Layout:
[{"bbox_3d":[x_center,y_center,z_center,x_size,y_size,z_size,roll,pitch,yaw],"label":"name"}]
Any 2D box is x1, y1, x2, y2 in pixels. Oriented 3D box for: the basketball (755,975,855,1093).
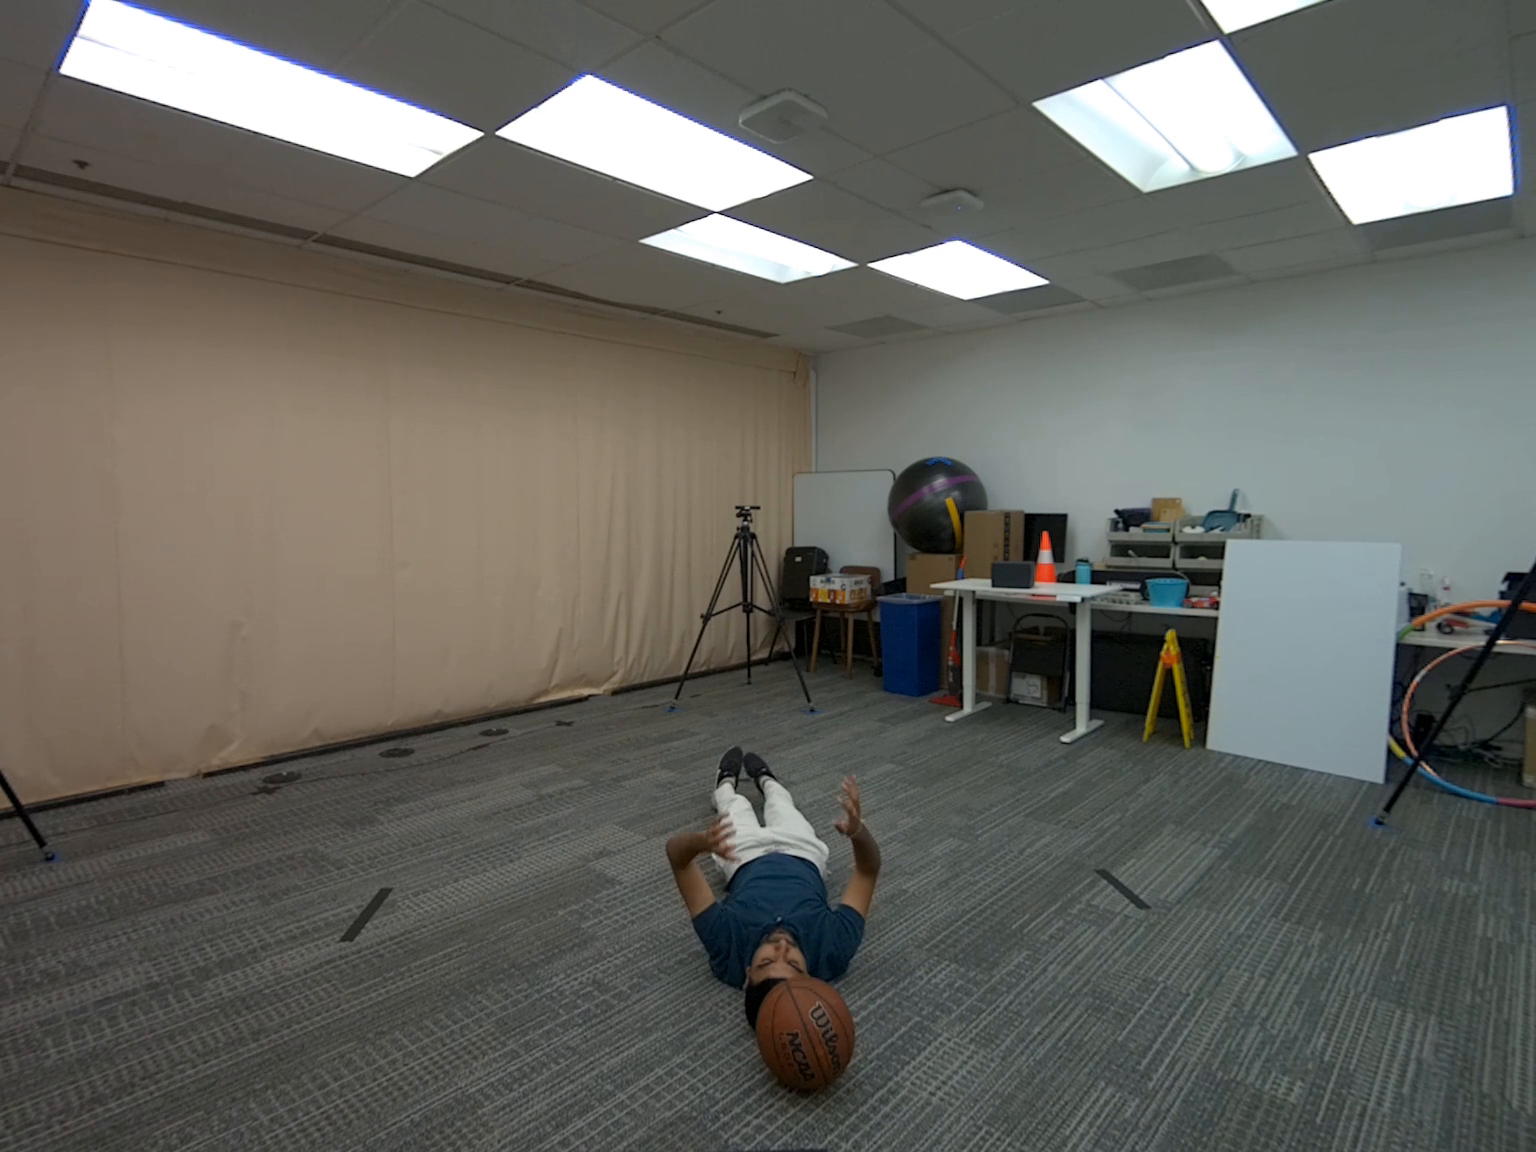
[{"bbox_3d":[0.097,1.104,2.034,0.236,0.235,0.237,0,4,-2],"label":"basketball"}]
